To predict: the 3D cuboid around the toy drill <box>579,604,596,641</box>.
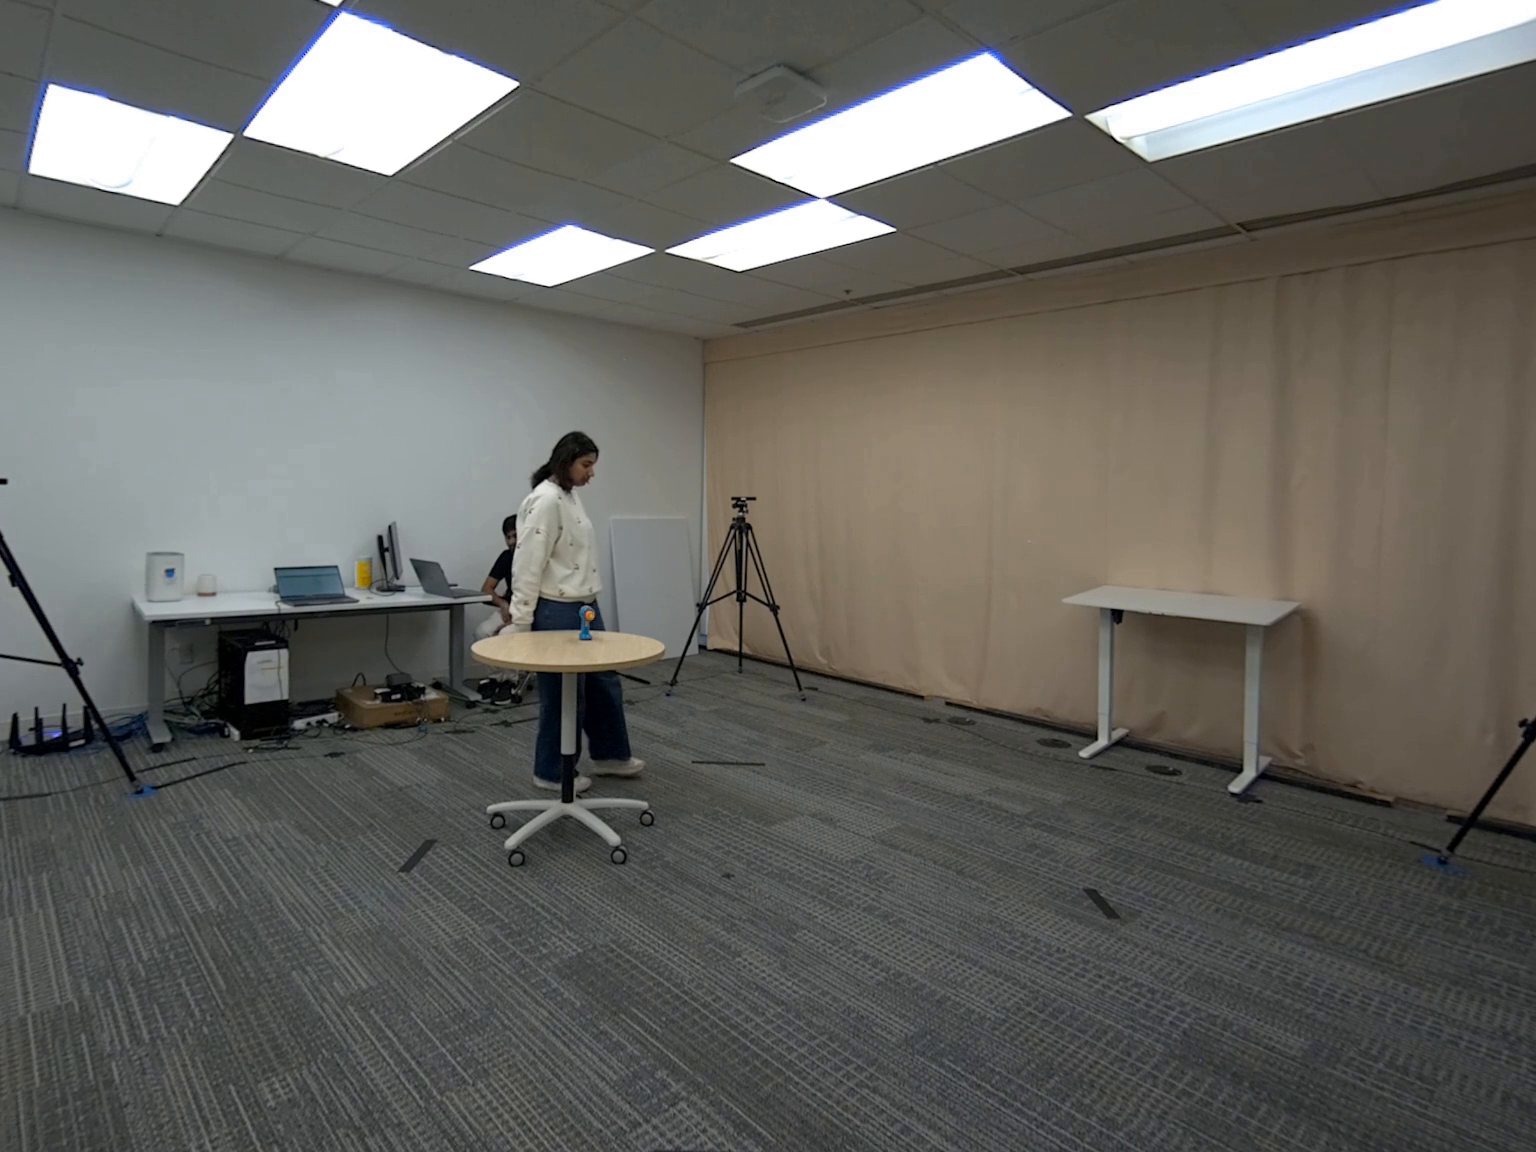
[{"bbox_3d":[-0.763,0.199,3.519,0.060,0.146,0.173,2,4,-25],"label":"toy drill"}]
